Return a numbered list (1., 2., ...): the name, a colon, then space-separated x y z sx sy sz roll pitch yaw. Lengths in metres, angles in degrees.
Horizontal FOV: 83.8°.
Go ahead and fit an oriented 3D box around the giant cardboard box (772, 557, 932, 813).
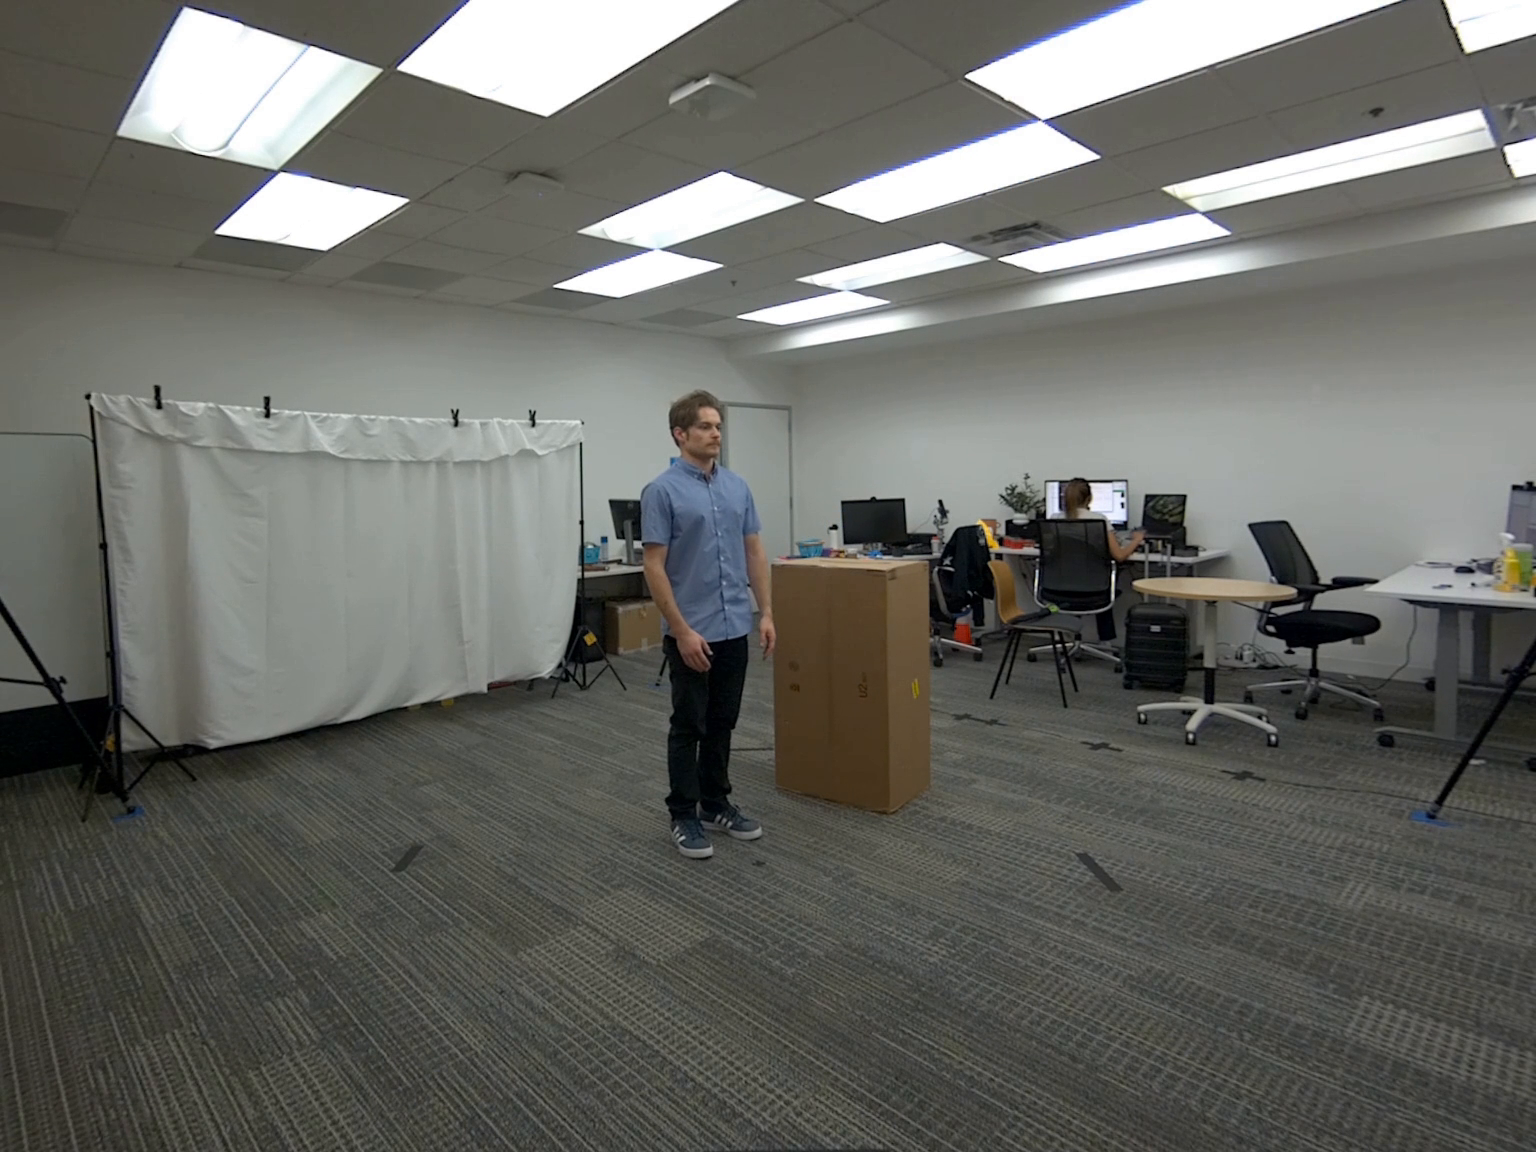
1. giant cardboard box: 0.376 0.448 3.851 0.594 1.022 0.415 2 5 36
